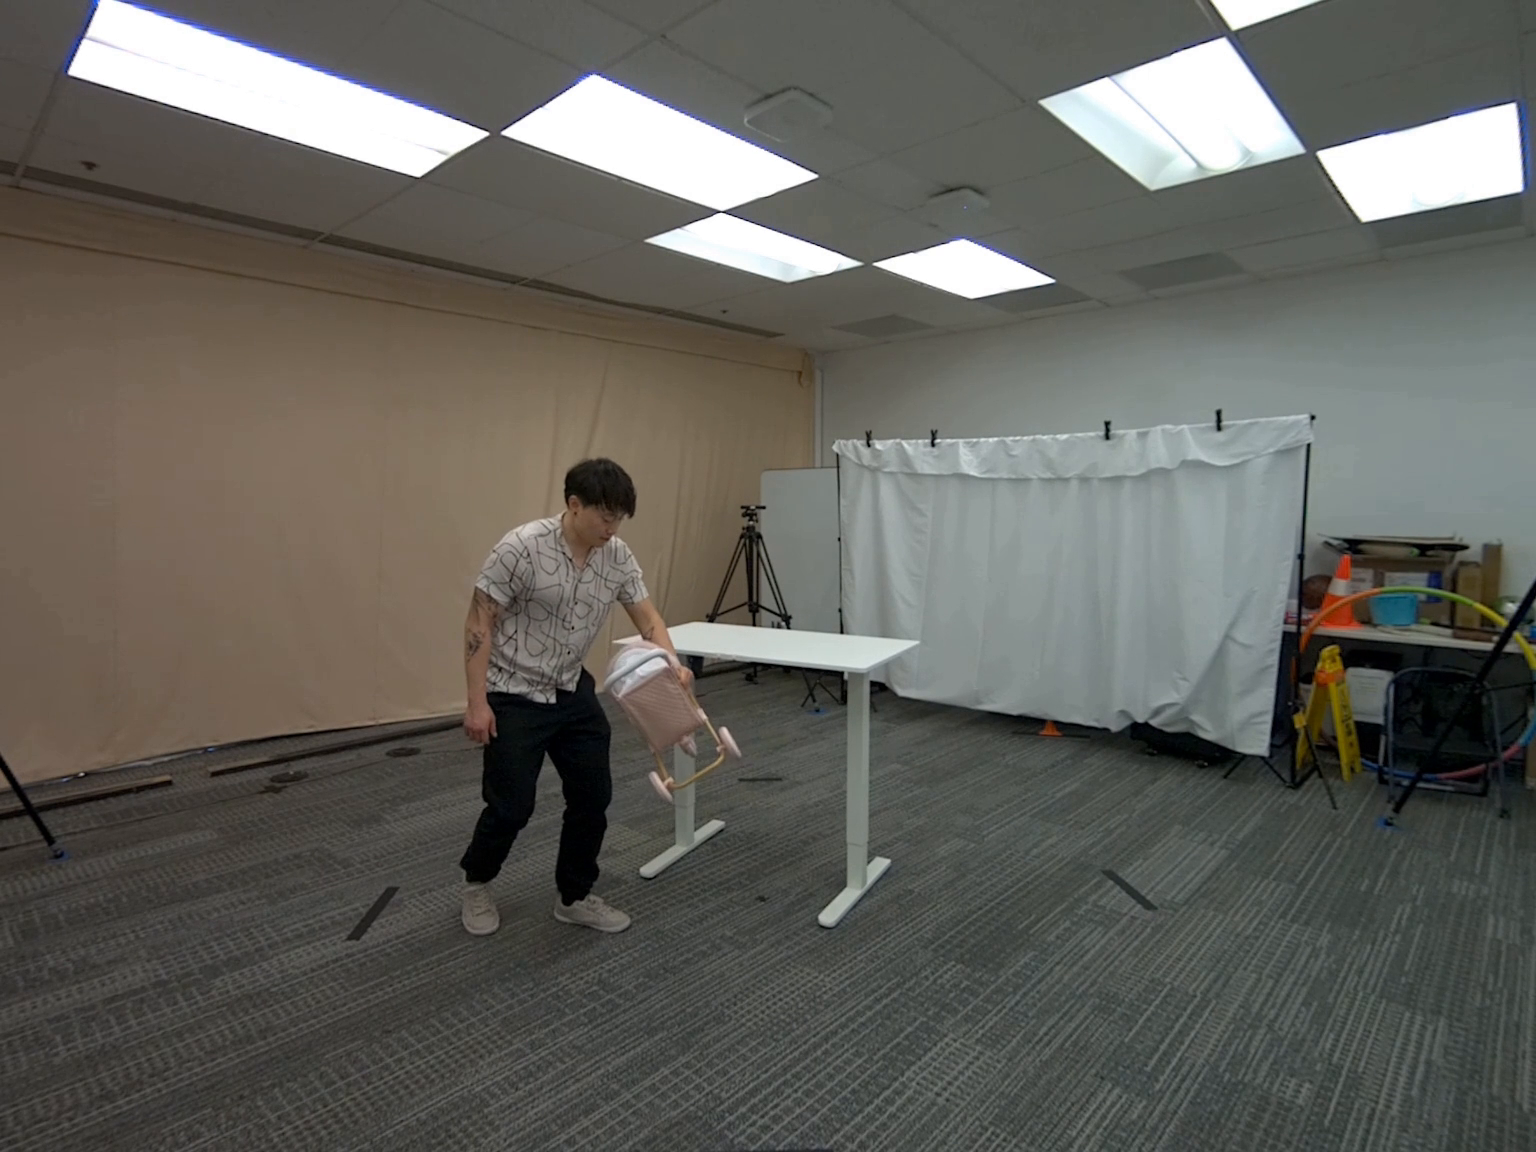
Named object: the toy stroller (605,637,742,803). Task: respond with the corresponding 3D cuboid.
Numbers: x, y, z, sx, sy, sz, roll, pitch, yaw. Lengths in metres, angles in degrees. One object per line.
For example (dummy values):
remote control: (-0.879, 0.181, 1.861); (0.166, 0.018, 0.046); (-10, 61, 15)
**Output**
toy stroller: (-0.316, 0.420, 2.603); (0.281, 0.523, 0.349); (-31, 22, -4)
